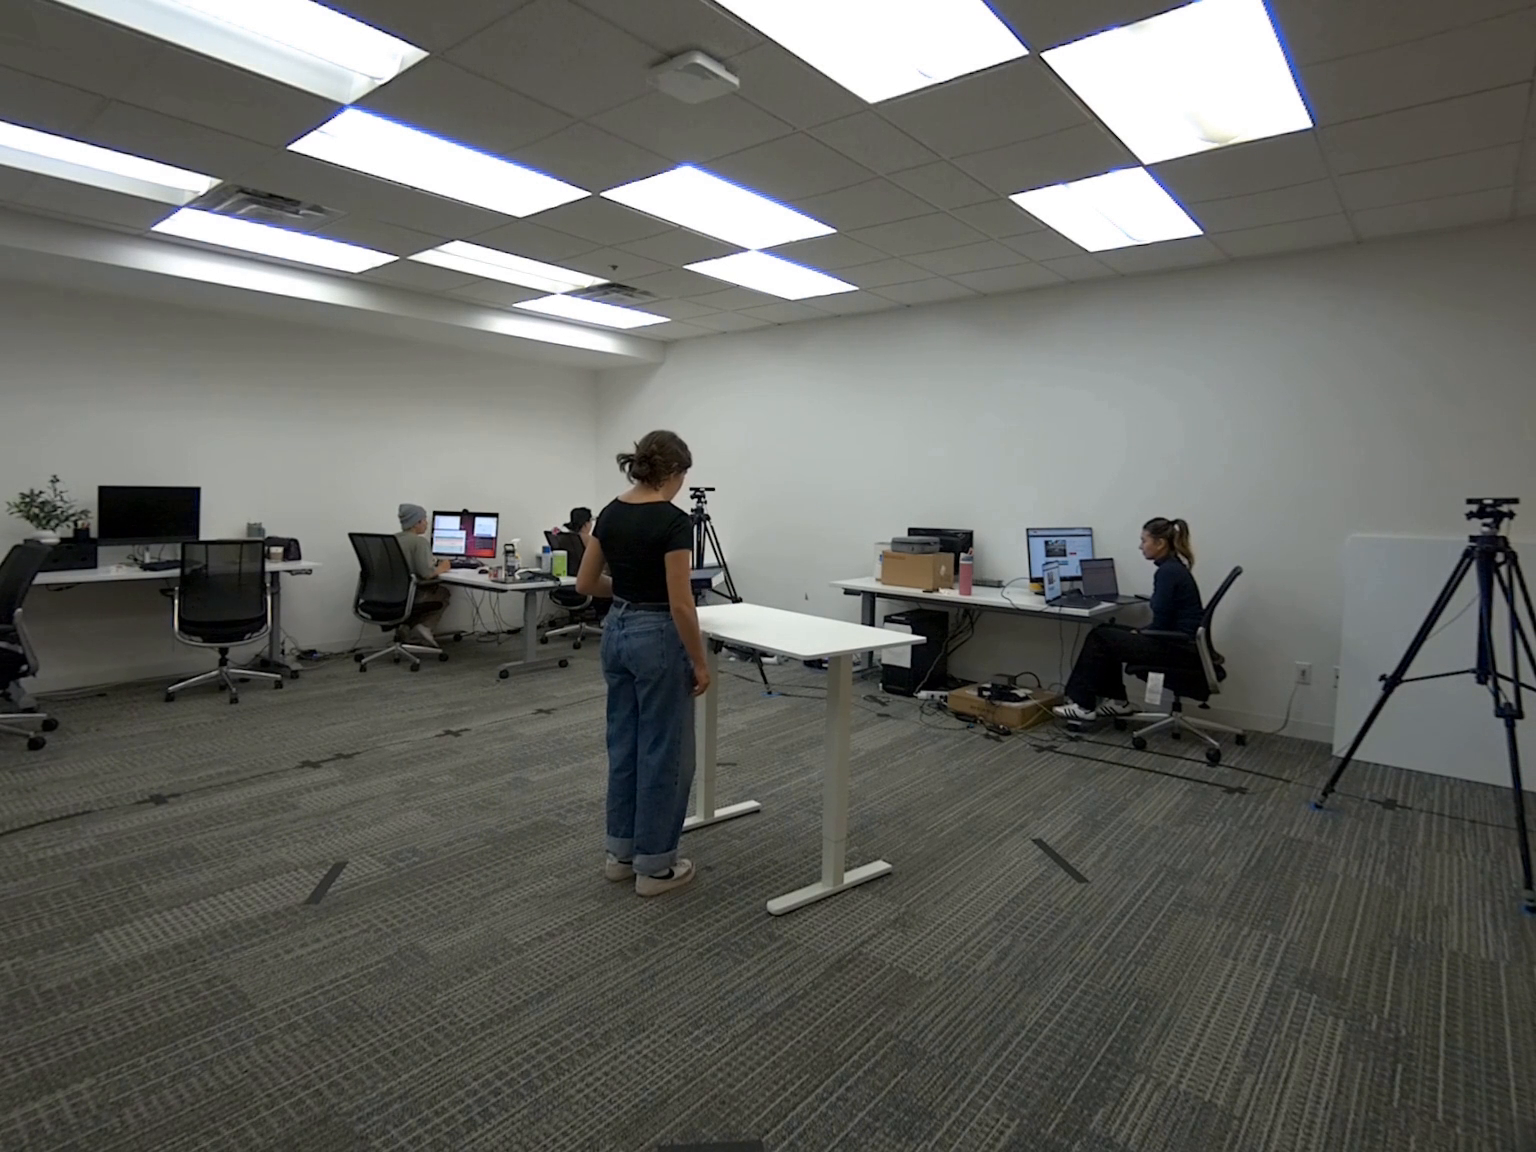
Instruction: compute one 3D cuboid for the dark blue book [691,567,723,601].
[{"bbox_3d":[-0.311,0.020,3.182,0.249,0.045,0.162,-3,11,15],"label":"dark blue book"}]
